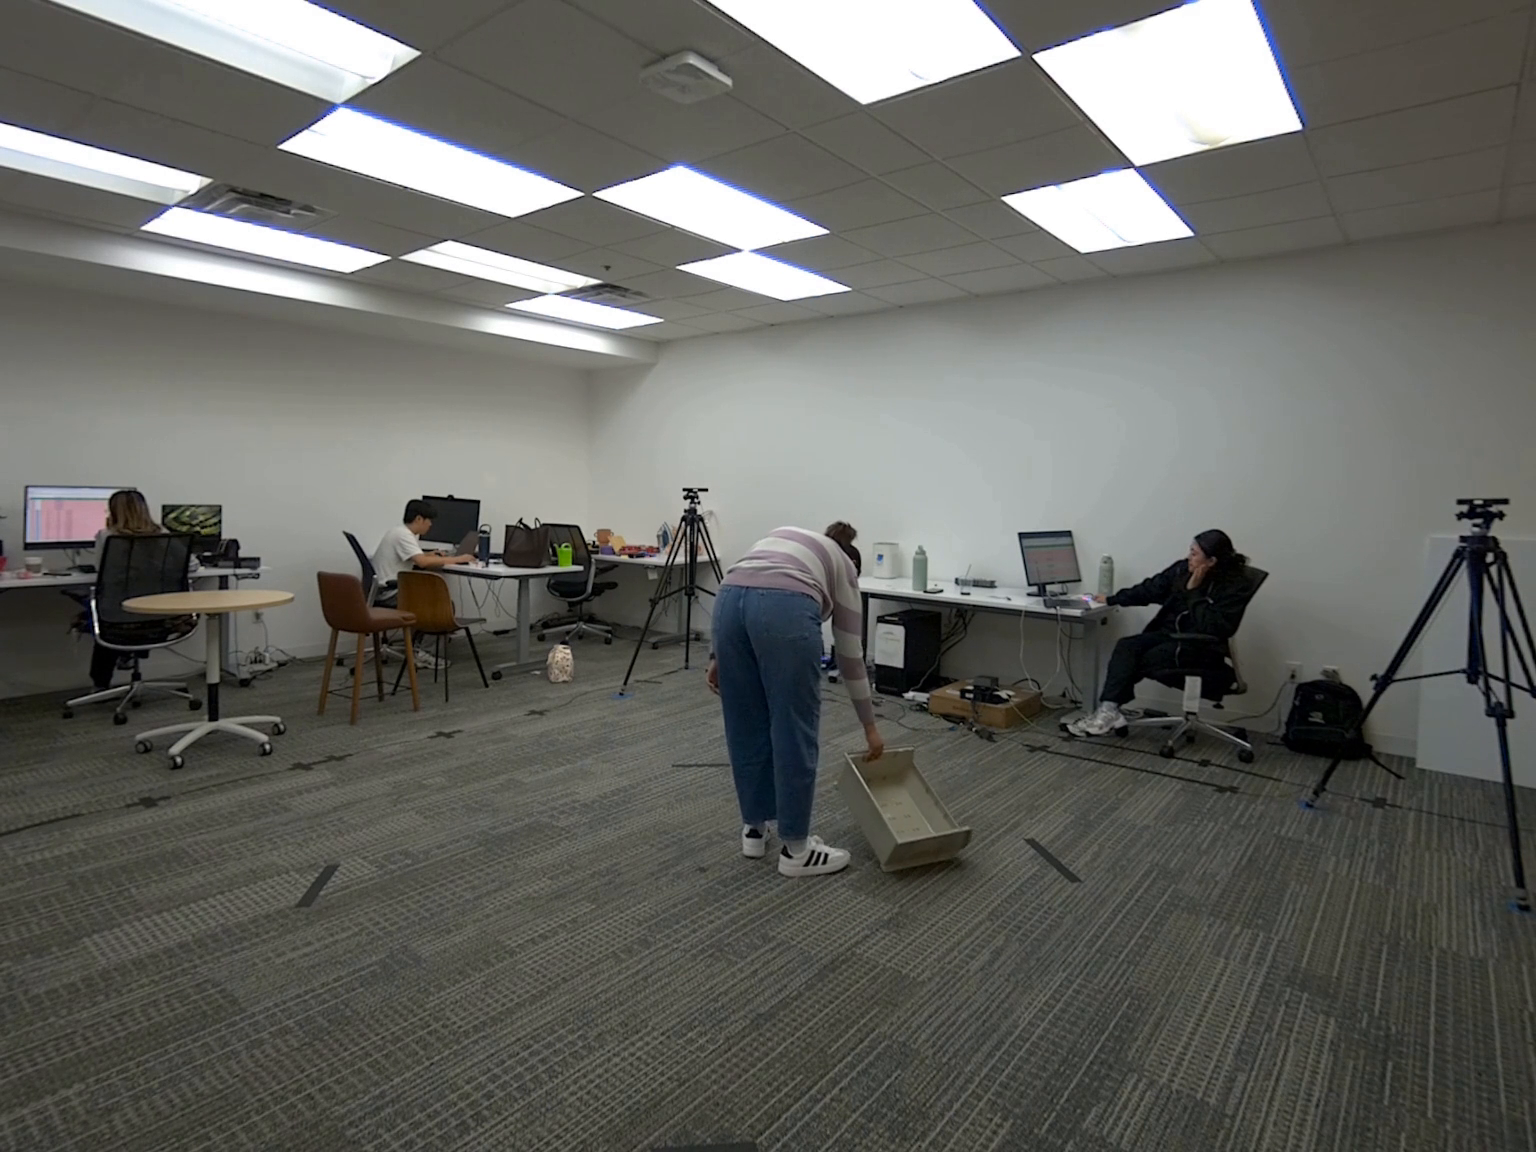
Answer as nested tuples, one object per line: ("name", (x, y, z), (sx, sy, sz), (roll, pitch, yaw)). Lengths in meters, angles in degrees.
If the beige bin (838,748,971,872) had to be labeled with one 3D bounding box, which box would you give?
("beige bin", (0.517, 0.888, 3.293), (0.368, 0.186, 0.440), (-2, 37, -27))
